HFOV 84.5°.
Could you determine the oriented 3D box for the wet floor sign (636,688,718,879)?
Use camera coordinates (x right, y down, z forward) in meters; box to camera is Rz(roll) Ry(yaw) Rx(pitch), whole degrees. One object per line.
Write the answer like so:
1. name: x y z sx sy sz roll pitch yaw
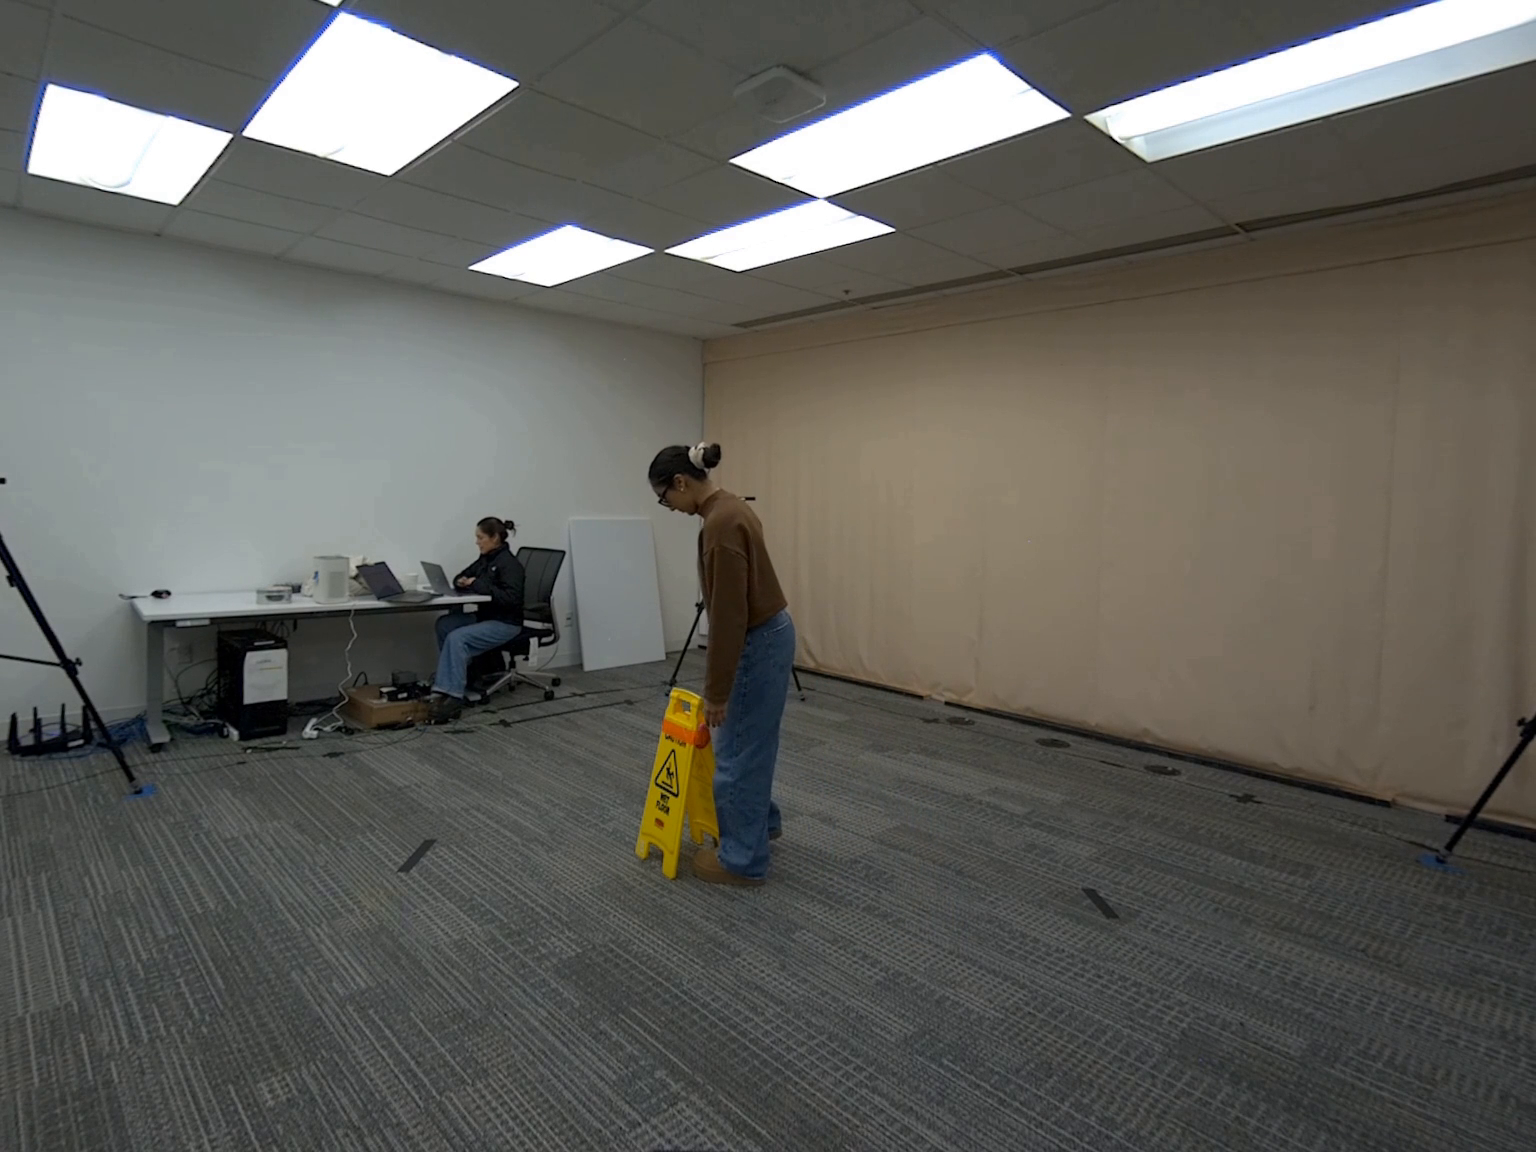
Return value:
1. wet floor sign: -0.319 0.767 3.237 0.283 0.645 0.289 0 4 -38
